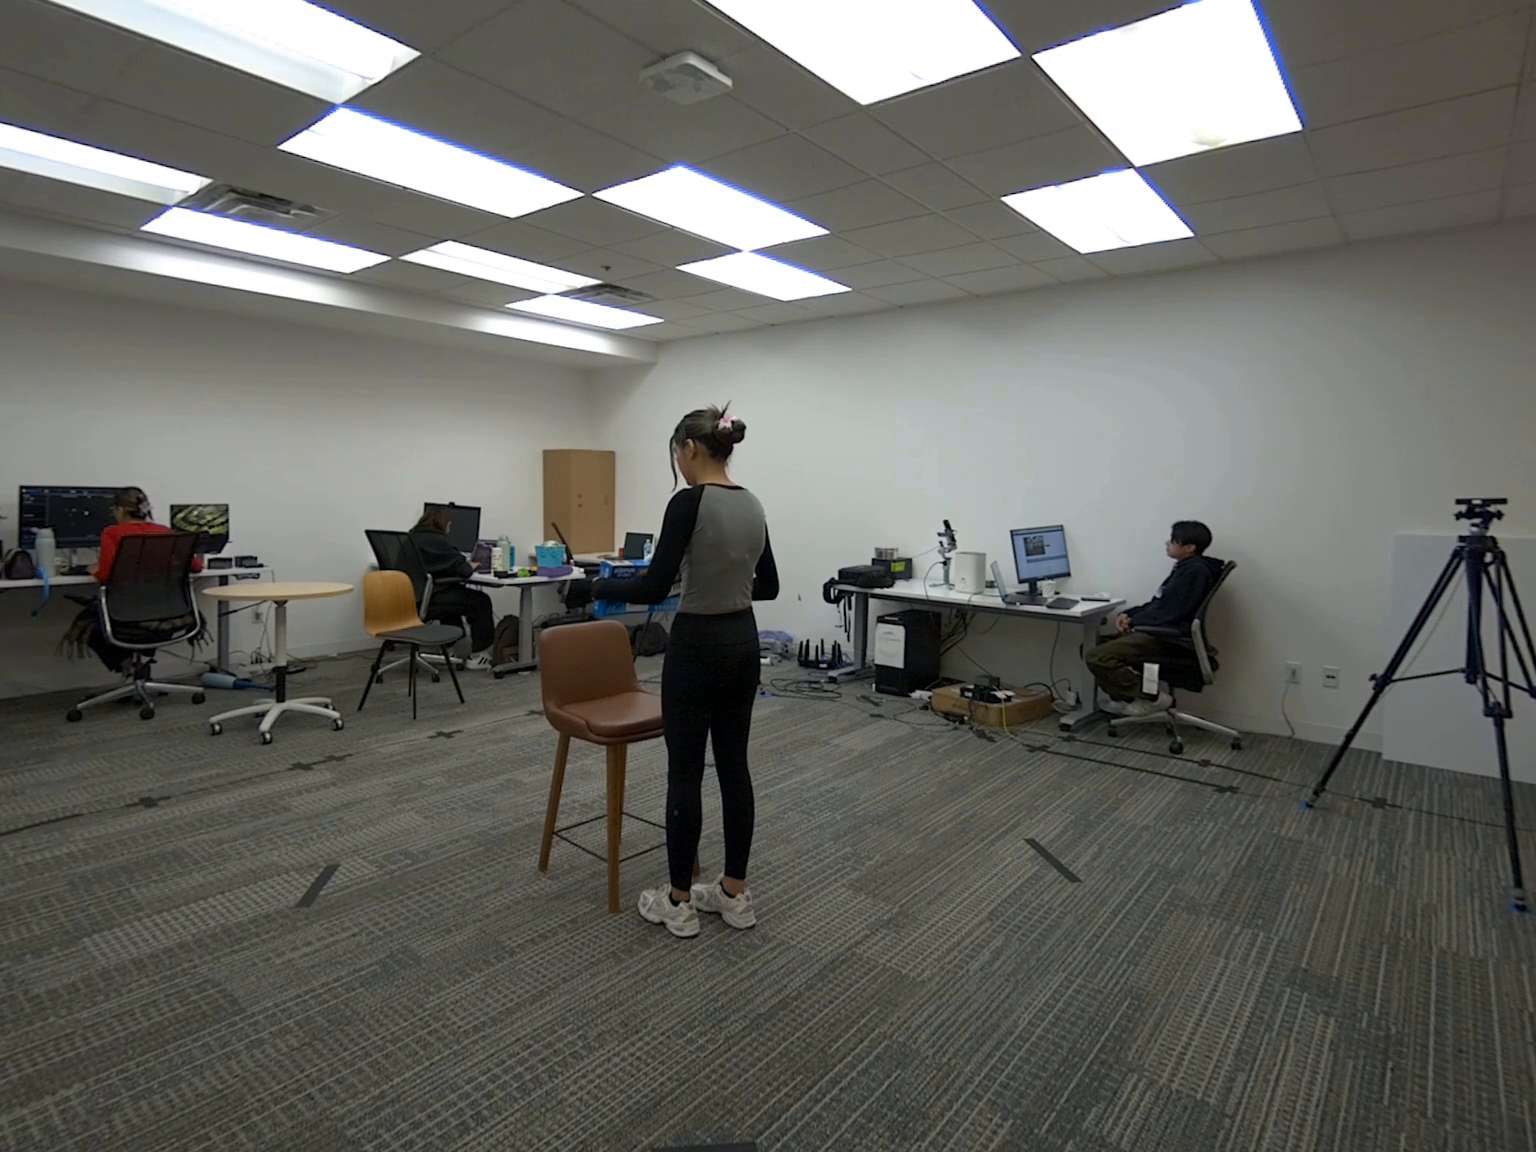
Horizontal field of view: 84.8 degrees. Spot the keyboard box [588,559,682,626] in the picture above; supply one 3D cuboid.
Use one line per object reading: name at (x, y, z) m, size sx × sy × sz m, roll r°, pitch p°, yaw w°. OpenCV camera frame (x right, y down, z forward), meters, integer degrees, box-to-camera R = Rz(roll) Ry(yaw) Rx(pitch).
keyboard box at (-0.414, 0.035, 2.921) m, size 0.061 × 0.175 × 0.423 m, roll 18°, pitch 13°, yaw 39°
